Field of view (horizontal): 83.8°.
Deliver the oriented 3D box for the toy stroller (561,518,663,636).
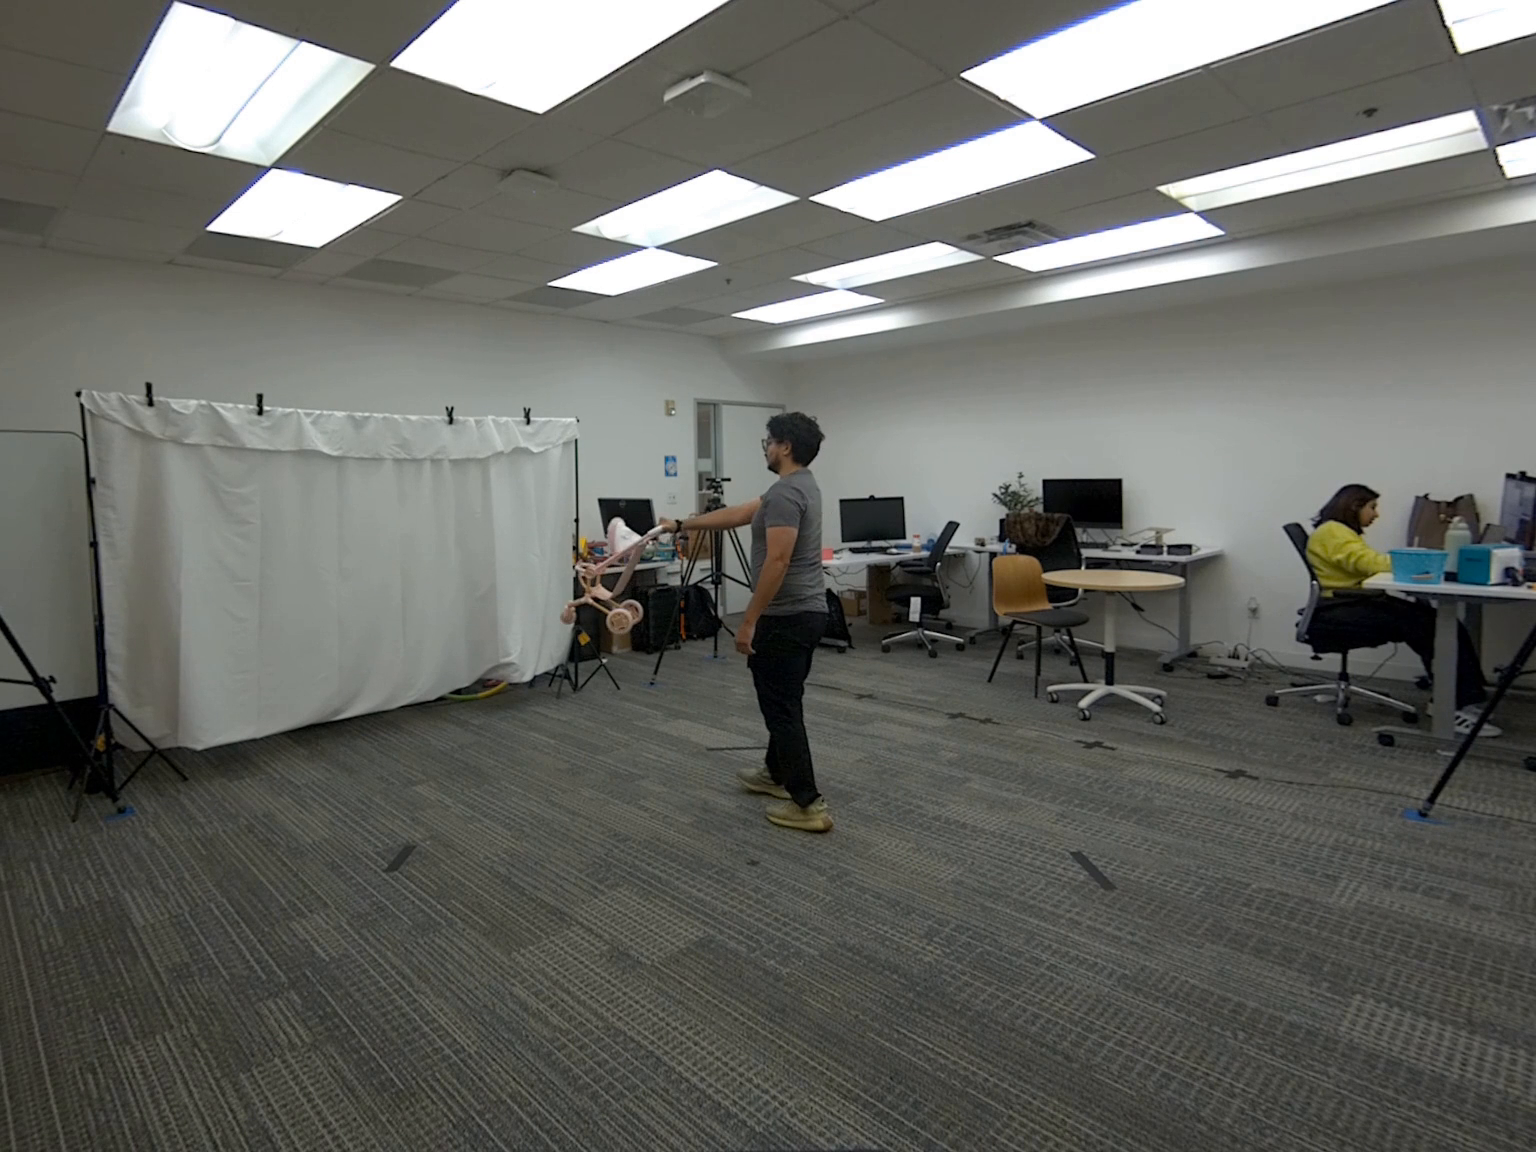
[{"bbox_3d":[-0.666,-0.005,3.657,0.344,0.533,0.280,17,6,6],"label":"toy stroller"}]
